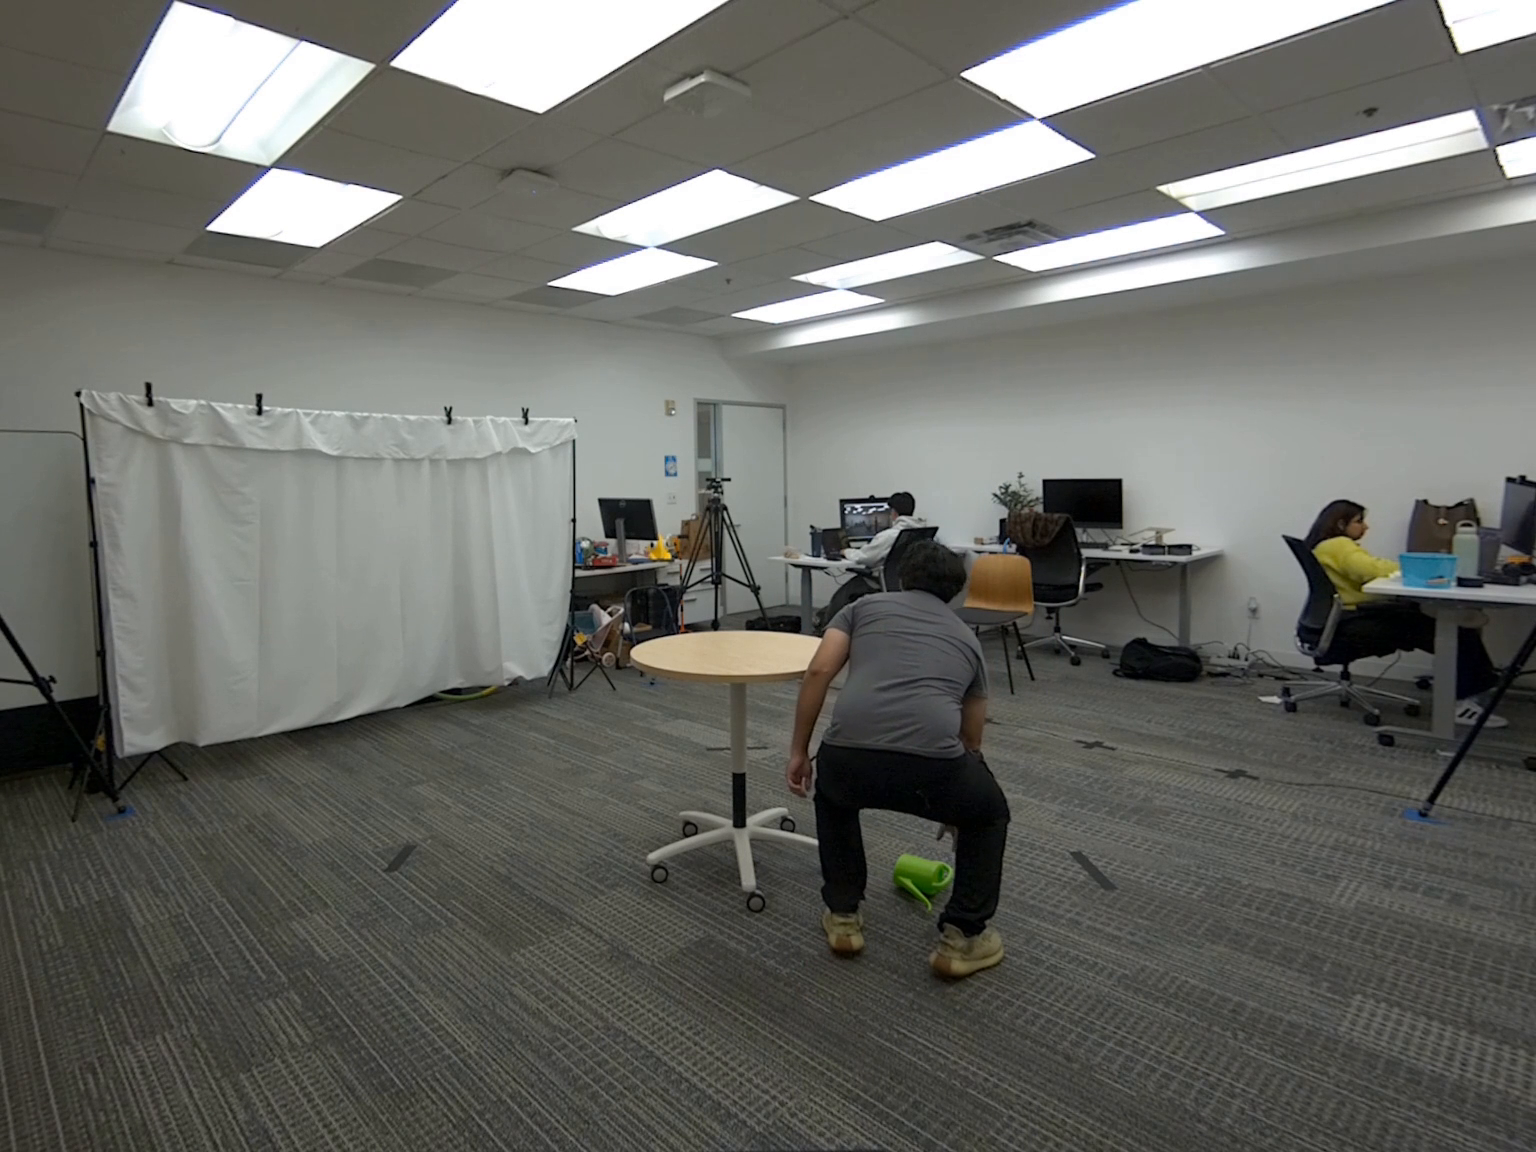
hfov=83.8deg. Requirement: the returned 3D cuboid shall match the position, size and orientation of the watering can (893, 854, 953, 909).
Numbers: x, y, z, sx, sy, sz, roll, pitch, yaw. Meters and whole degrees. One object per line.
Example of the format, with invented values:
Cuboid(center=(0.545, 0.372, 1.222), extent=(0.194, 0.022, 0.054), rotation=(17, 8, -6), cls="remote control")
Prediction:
Cuboid(center=(0.510, 1.014, 2.841), extent=(0.181, 0.098, 0.271), rotation=(2, 1, 32), cls="watering can")
